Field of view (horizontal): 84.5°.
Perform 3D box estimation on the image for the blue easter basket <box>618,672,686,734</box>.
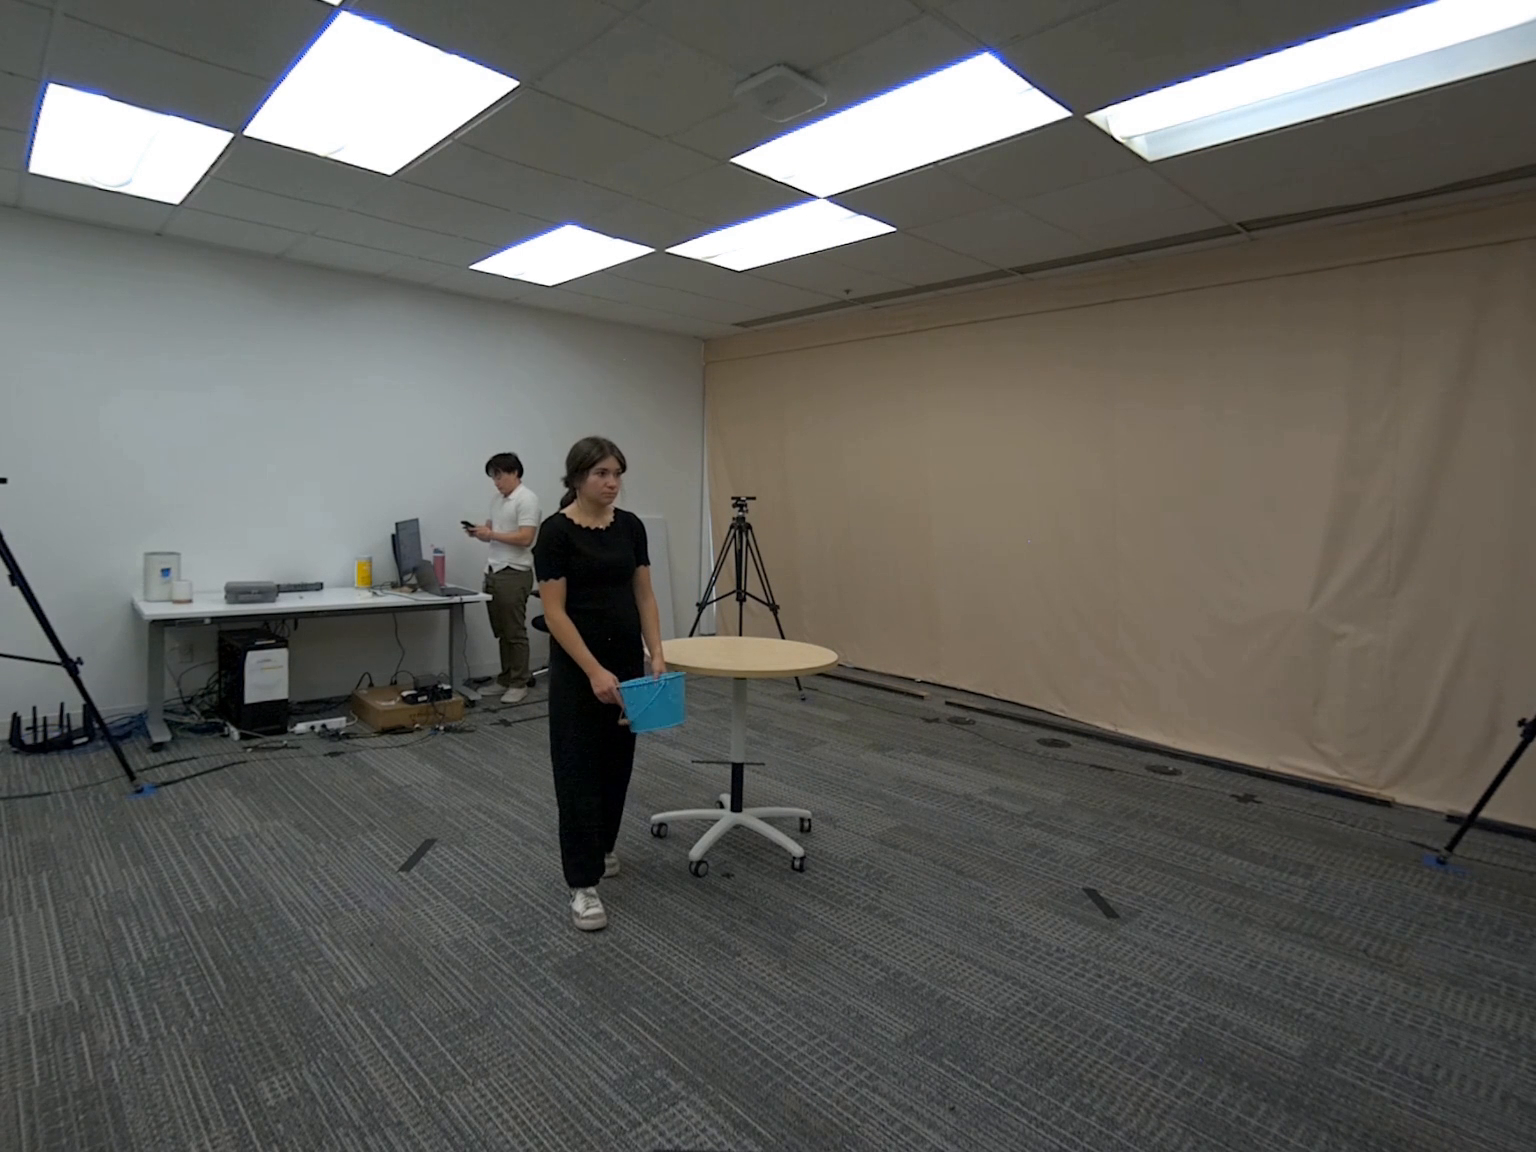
[{"bbox_3d":[-0.411,0.414,2.717,0.243,0.156,0.243,-7,-1,-2],"label":"blue easter basket"}]
